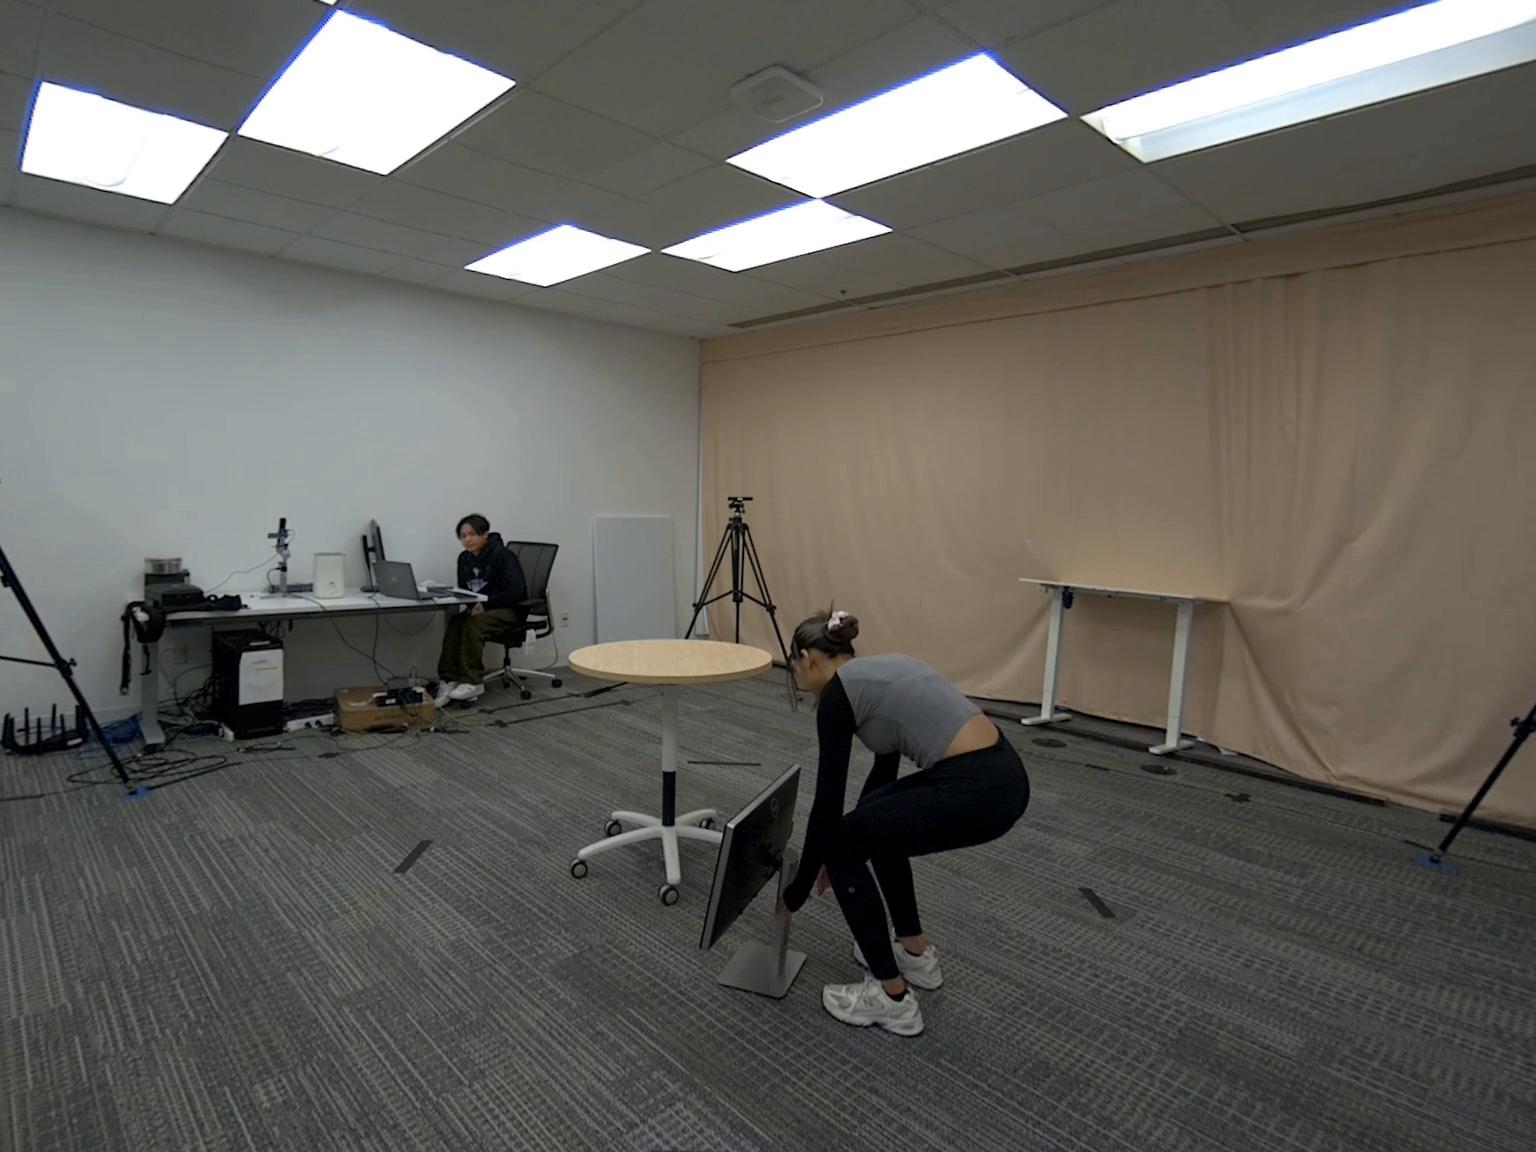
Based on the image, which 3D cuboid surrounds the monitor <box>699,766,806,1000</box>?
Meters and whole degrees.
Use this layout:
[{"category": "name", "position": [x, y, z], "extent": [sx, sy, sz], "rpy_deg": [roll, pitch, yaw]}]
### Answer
[{"category": "monitor", "position": [-0.012, 0.903, 2.467], "extent": [0.190, 0.521, 0.532], "rpy_deg": [1, 5, 20]}]
